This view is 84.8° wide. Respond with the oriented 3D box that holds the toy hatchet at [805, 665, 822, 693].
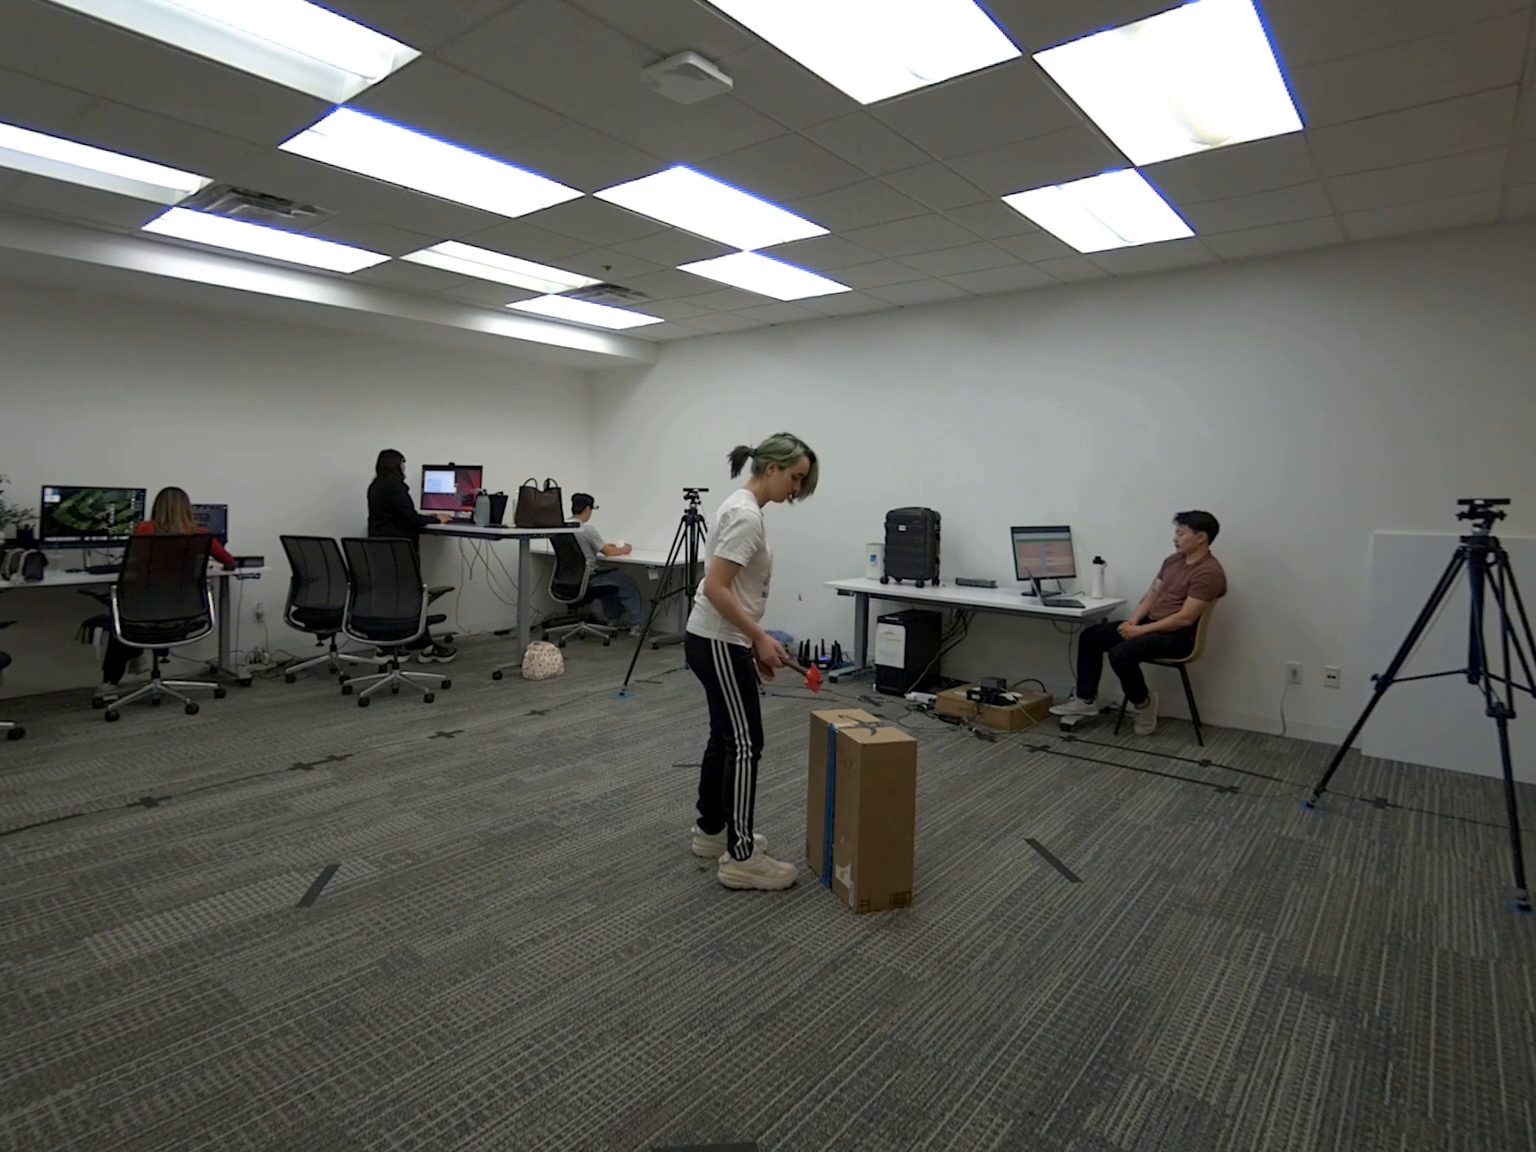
[{"bbox_3d":[0.083,0.327,2.883,0.029,0.128,0.279,-37,26,-32],"label":"toy hatchet"}]
